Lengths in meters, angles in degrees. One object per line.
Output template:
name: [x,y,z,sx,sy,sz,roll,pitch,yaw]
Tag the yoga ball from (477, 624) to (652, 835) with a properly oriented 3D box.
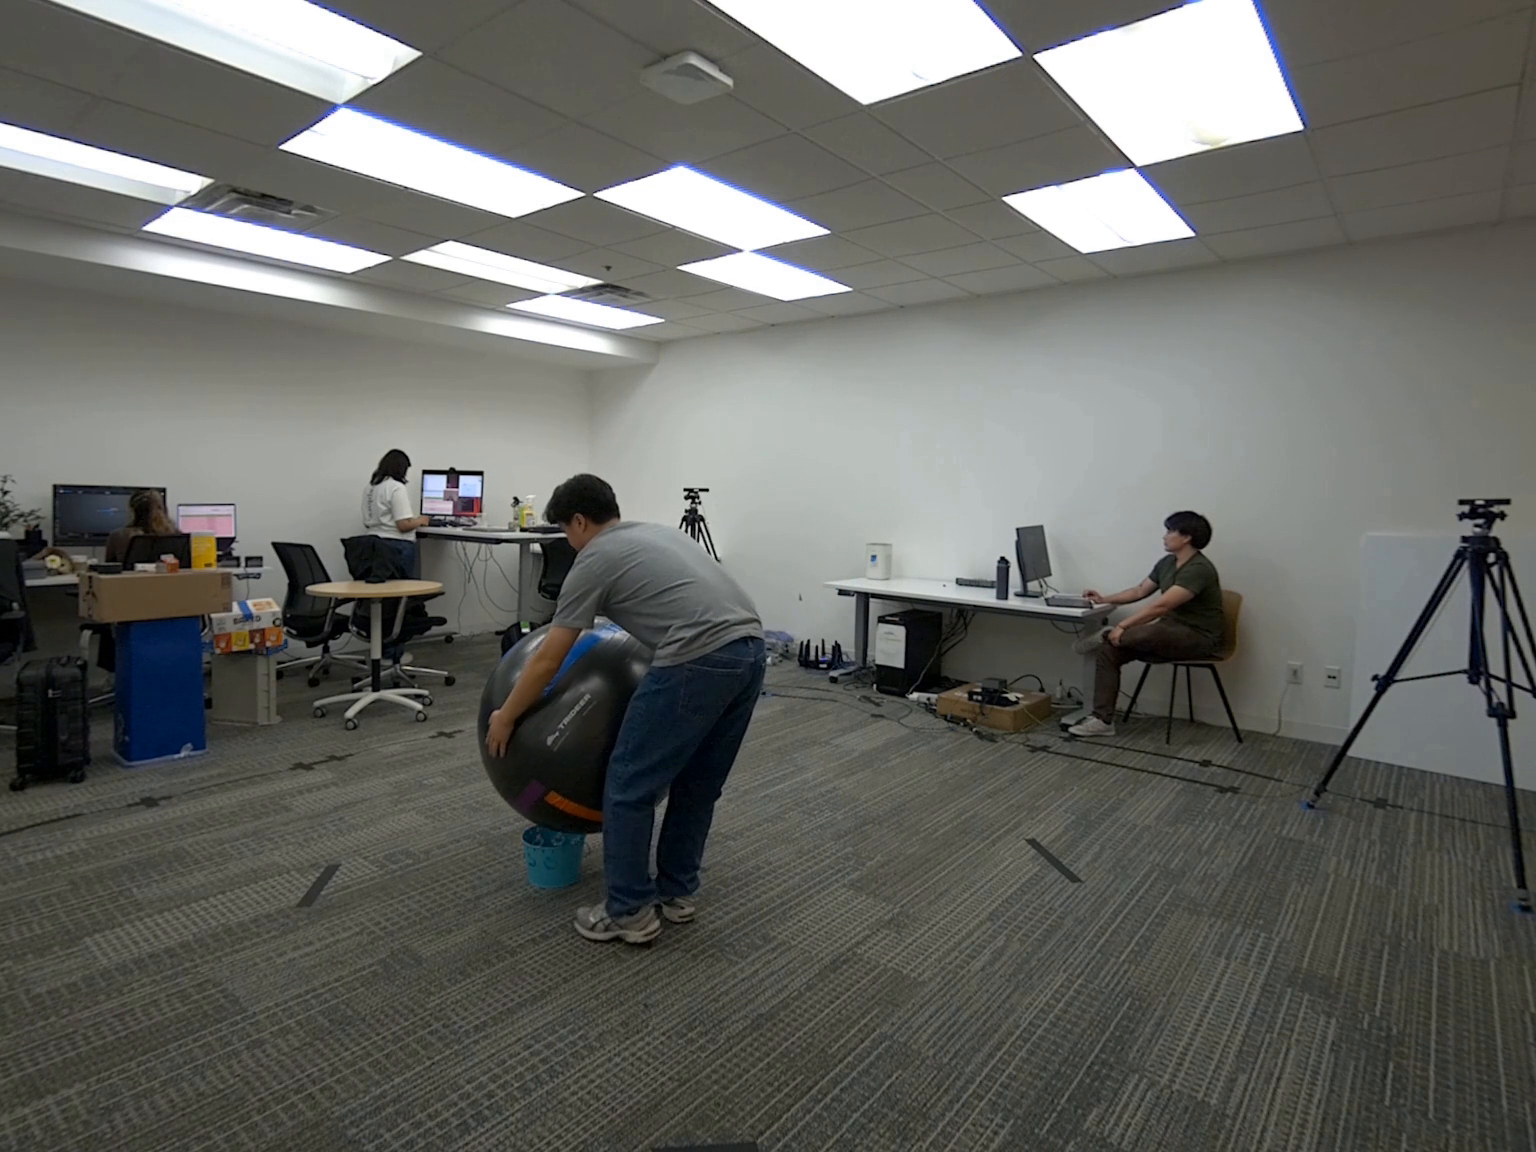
yoga ball: [-0.668,0.523,3.052,0.757,0.755,0.762,1,4,-2]
